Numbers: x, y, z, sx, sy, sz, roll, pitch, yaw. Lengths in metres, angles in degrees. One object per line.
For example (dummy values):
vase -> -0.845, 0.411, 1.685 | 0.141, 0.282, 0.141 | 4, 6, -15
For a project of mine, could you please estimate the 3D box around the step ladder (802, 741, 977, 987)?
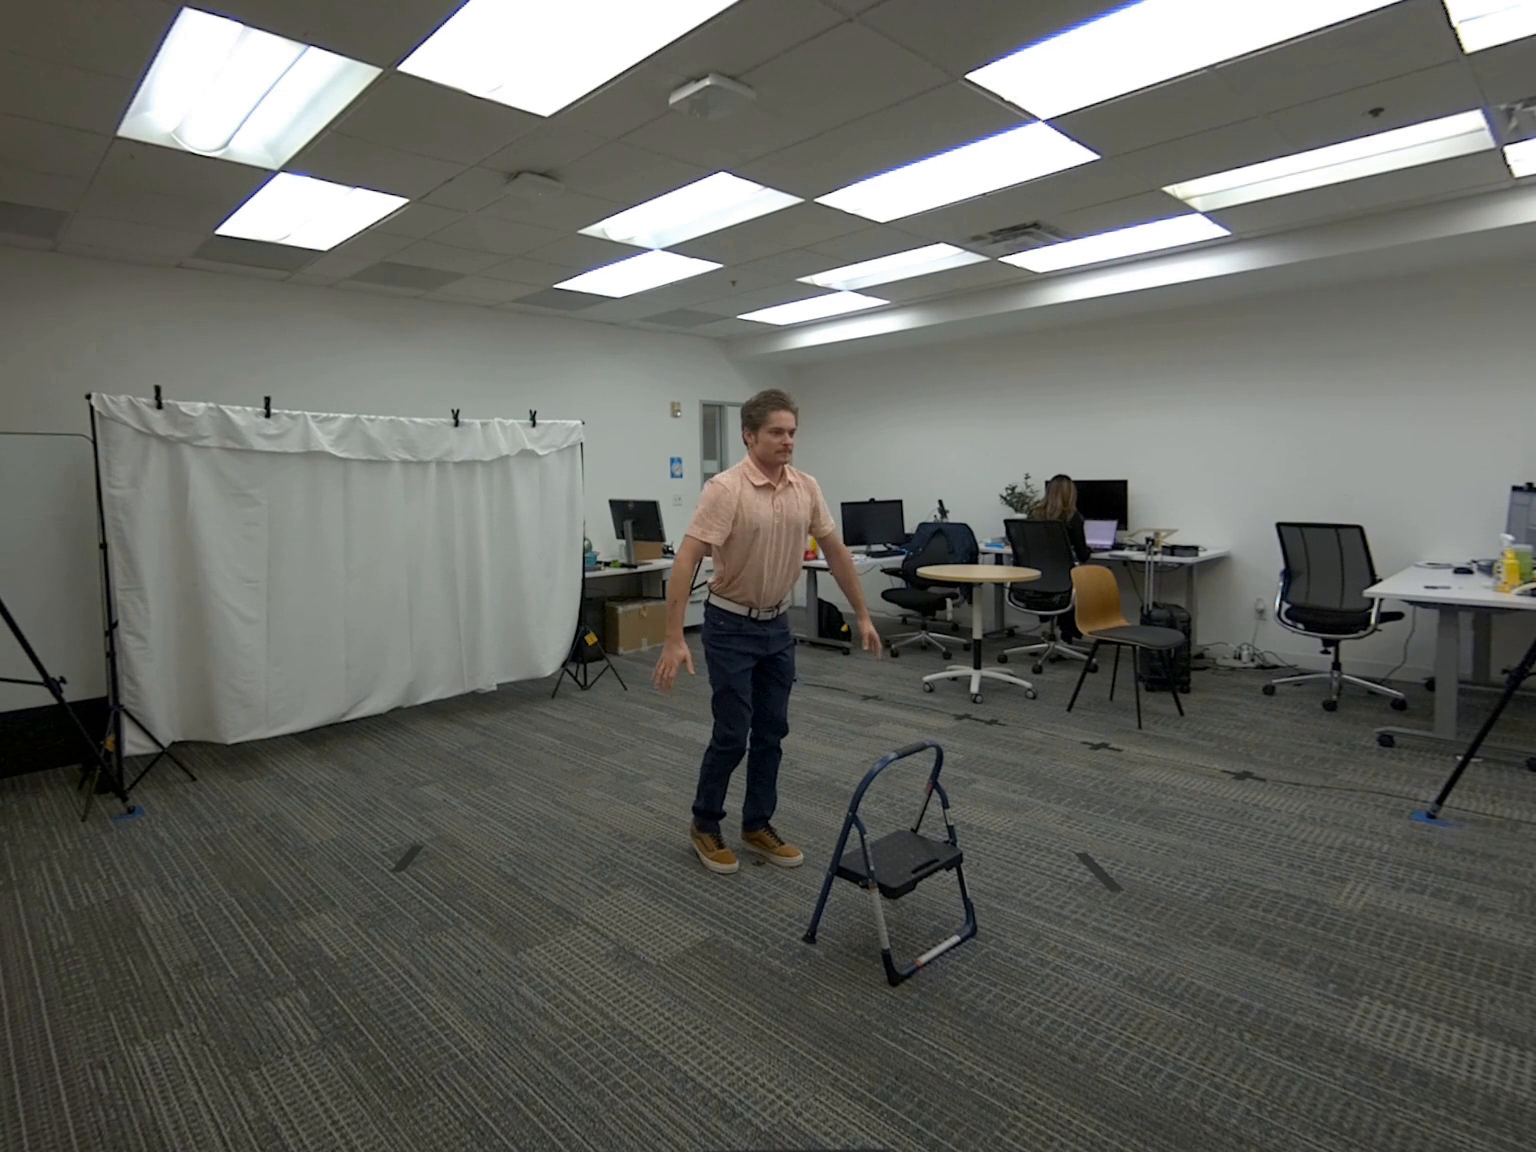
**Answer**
step ladder -> 0.373, 0.797, 2.581 | 0.419, 0.603, 0.360 | -6, 7, -43
